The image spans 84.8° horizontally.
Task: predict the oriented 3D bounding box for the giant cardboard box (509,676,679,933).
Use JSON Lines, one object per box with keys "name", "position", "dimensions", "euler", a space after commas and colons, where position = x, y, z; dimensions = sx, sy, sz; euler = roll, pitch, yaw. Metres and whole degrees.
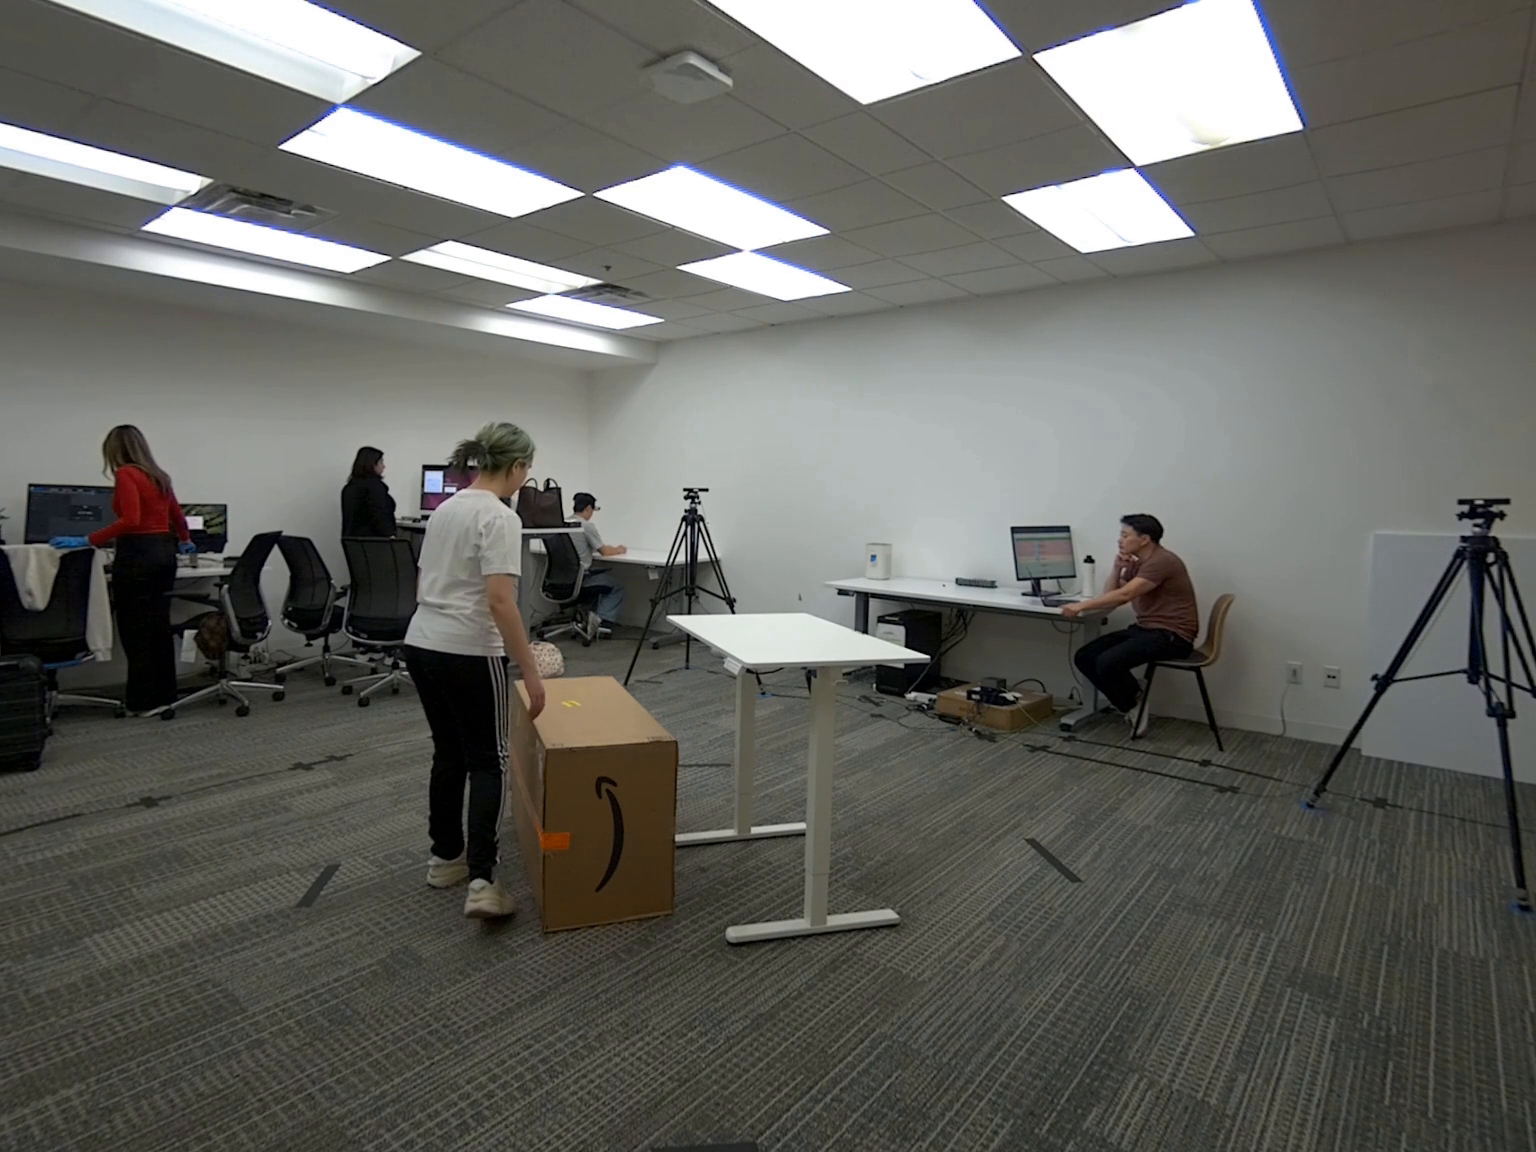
{"name": "giant cardboard box", "position": [-0.699, 0.765, 3.169], "dimensions": [0.437, 0.582, 1.052], "euler": [-1, 4, -22]}
